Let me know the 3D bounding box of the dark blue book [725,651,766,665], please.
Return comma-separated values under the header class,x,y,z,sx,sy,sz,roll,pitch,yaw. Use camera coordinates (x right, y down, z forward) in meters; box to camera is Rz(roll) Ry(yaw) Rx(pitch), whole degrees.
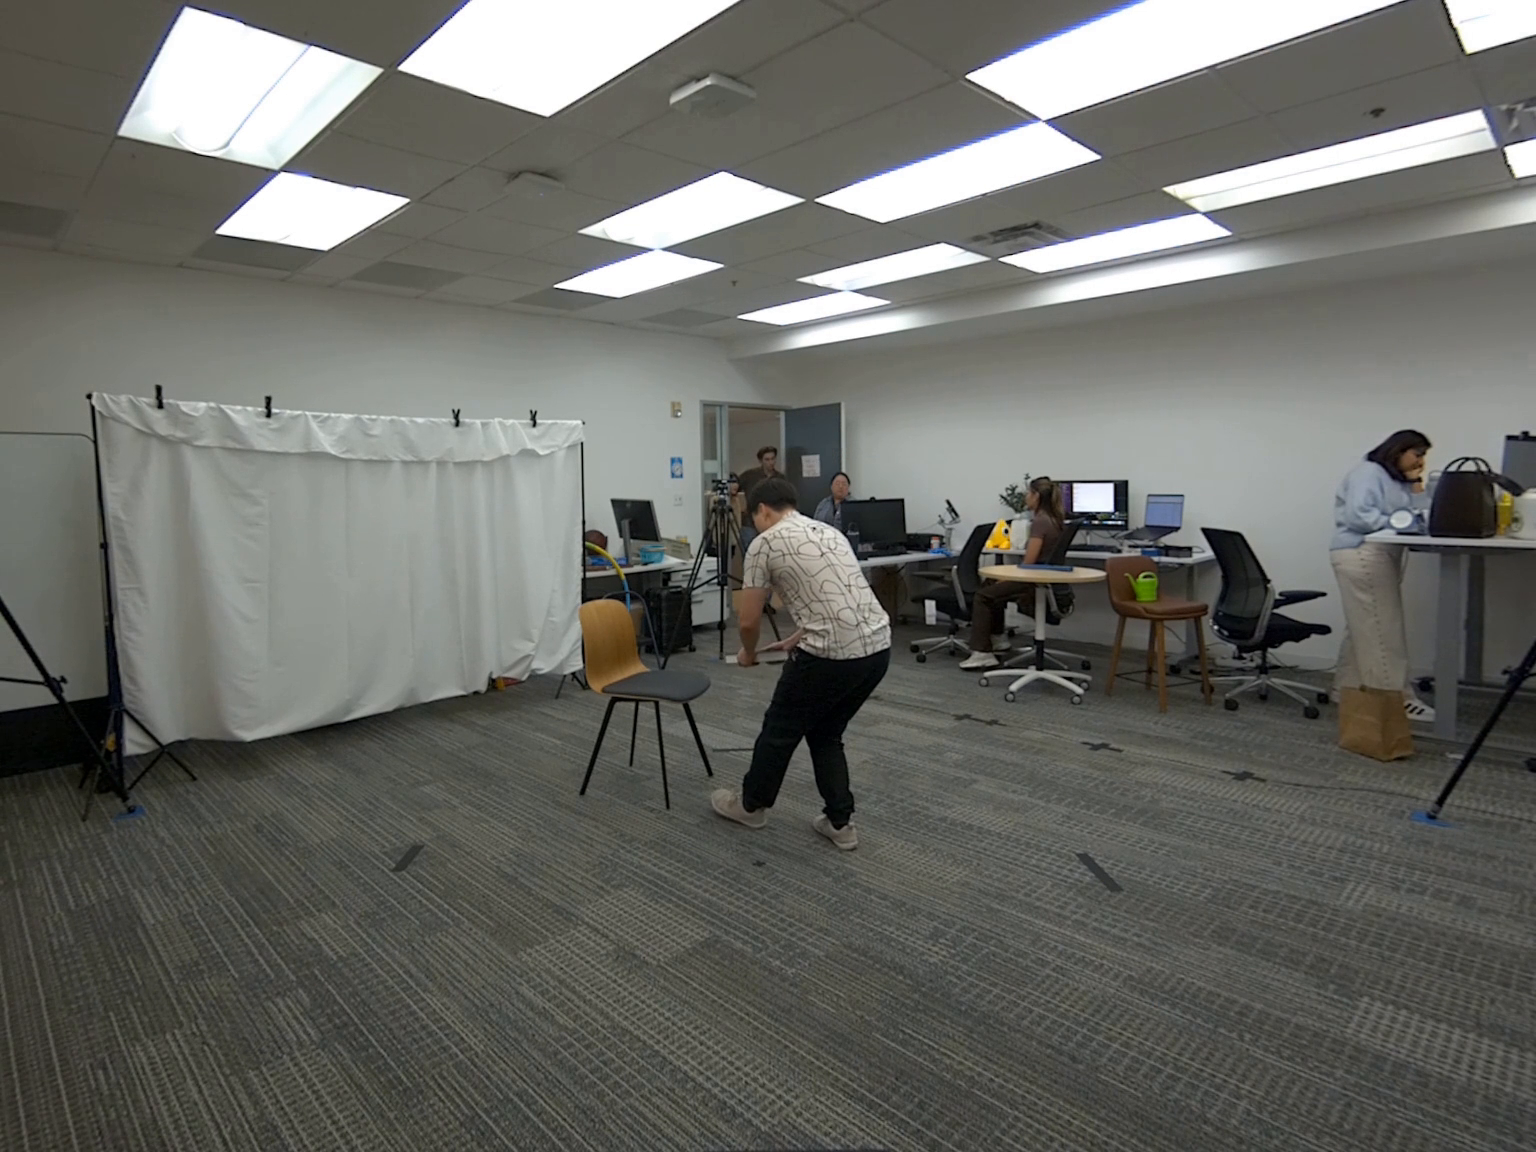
class,x,y,z,sx,sy,sz,roll,pitch,yaw
dark blue book,-0.038,0.345,3.628,0.159,0.045,0.251,-2,-1,-36
